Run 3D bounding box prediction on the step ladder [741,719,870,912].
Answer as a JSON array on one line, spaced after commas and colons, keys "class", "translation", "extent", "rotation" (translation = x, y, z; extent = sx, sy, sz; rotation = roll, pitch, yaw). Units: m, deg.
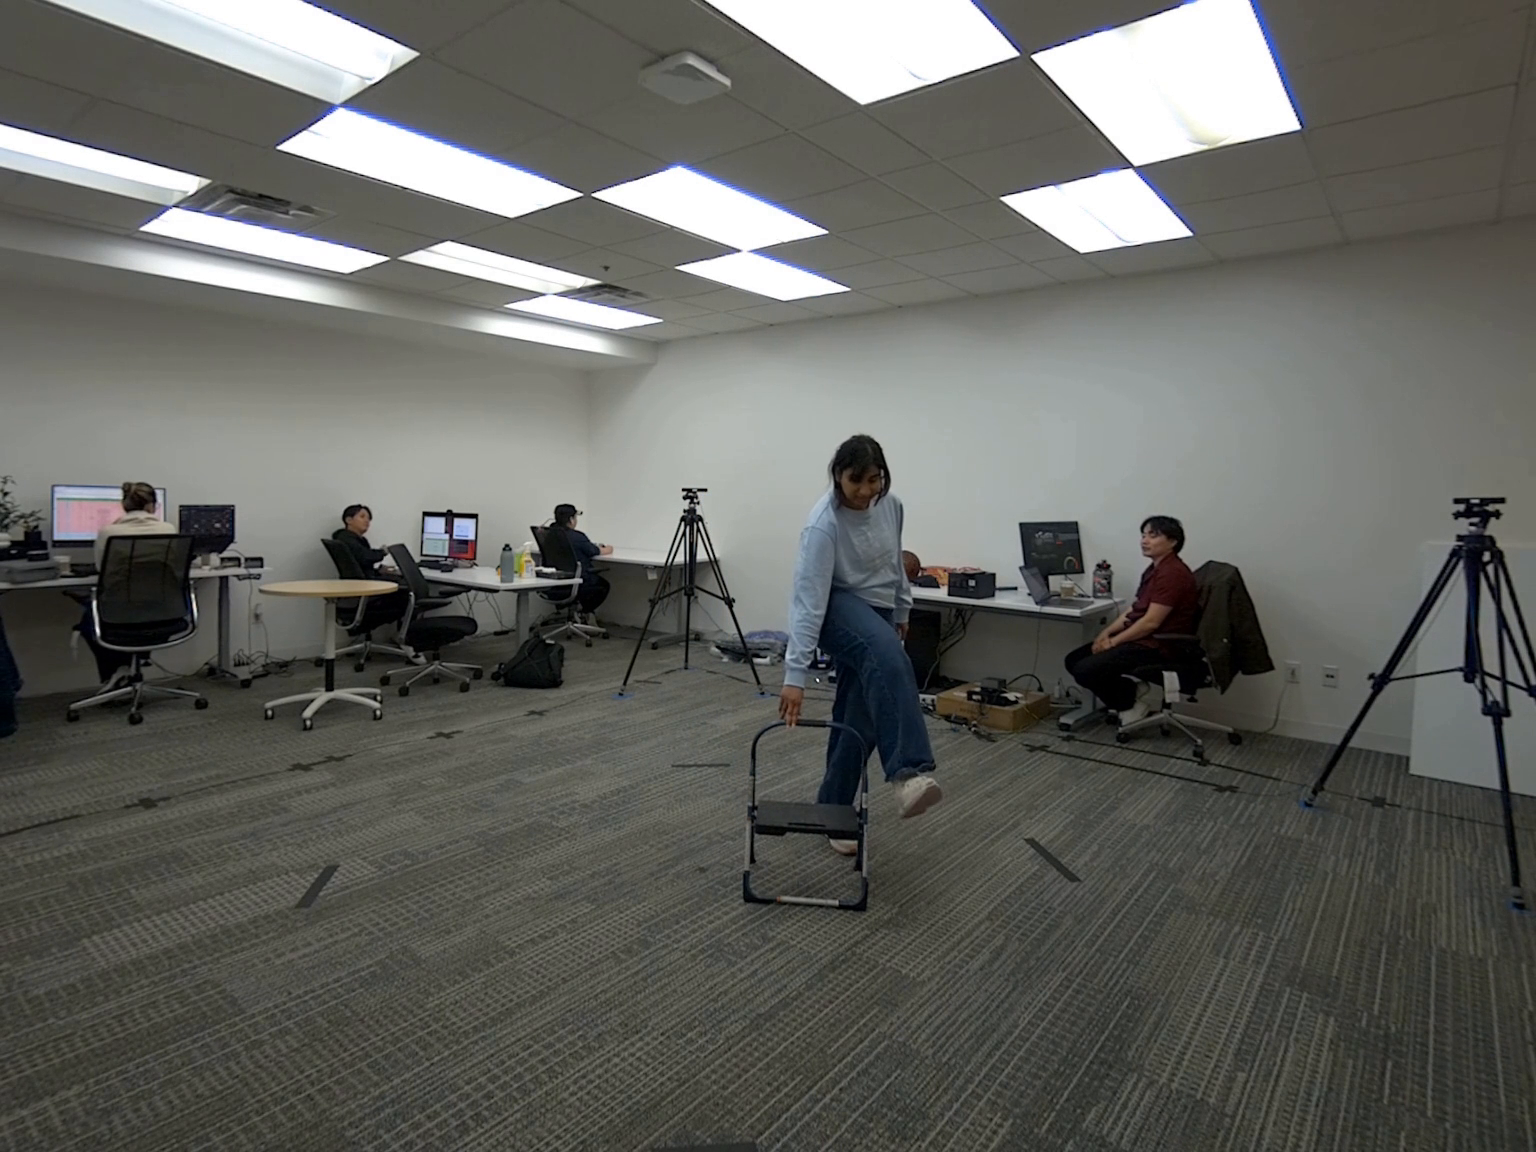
[{"class": "step ladder", "translation": [0.127, 0.787, 2.993], "extent": [0.433, 0.605, 0.348], "rotation": [1, 2, 4]}]
